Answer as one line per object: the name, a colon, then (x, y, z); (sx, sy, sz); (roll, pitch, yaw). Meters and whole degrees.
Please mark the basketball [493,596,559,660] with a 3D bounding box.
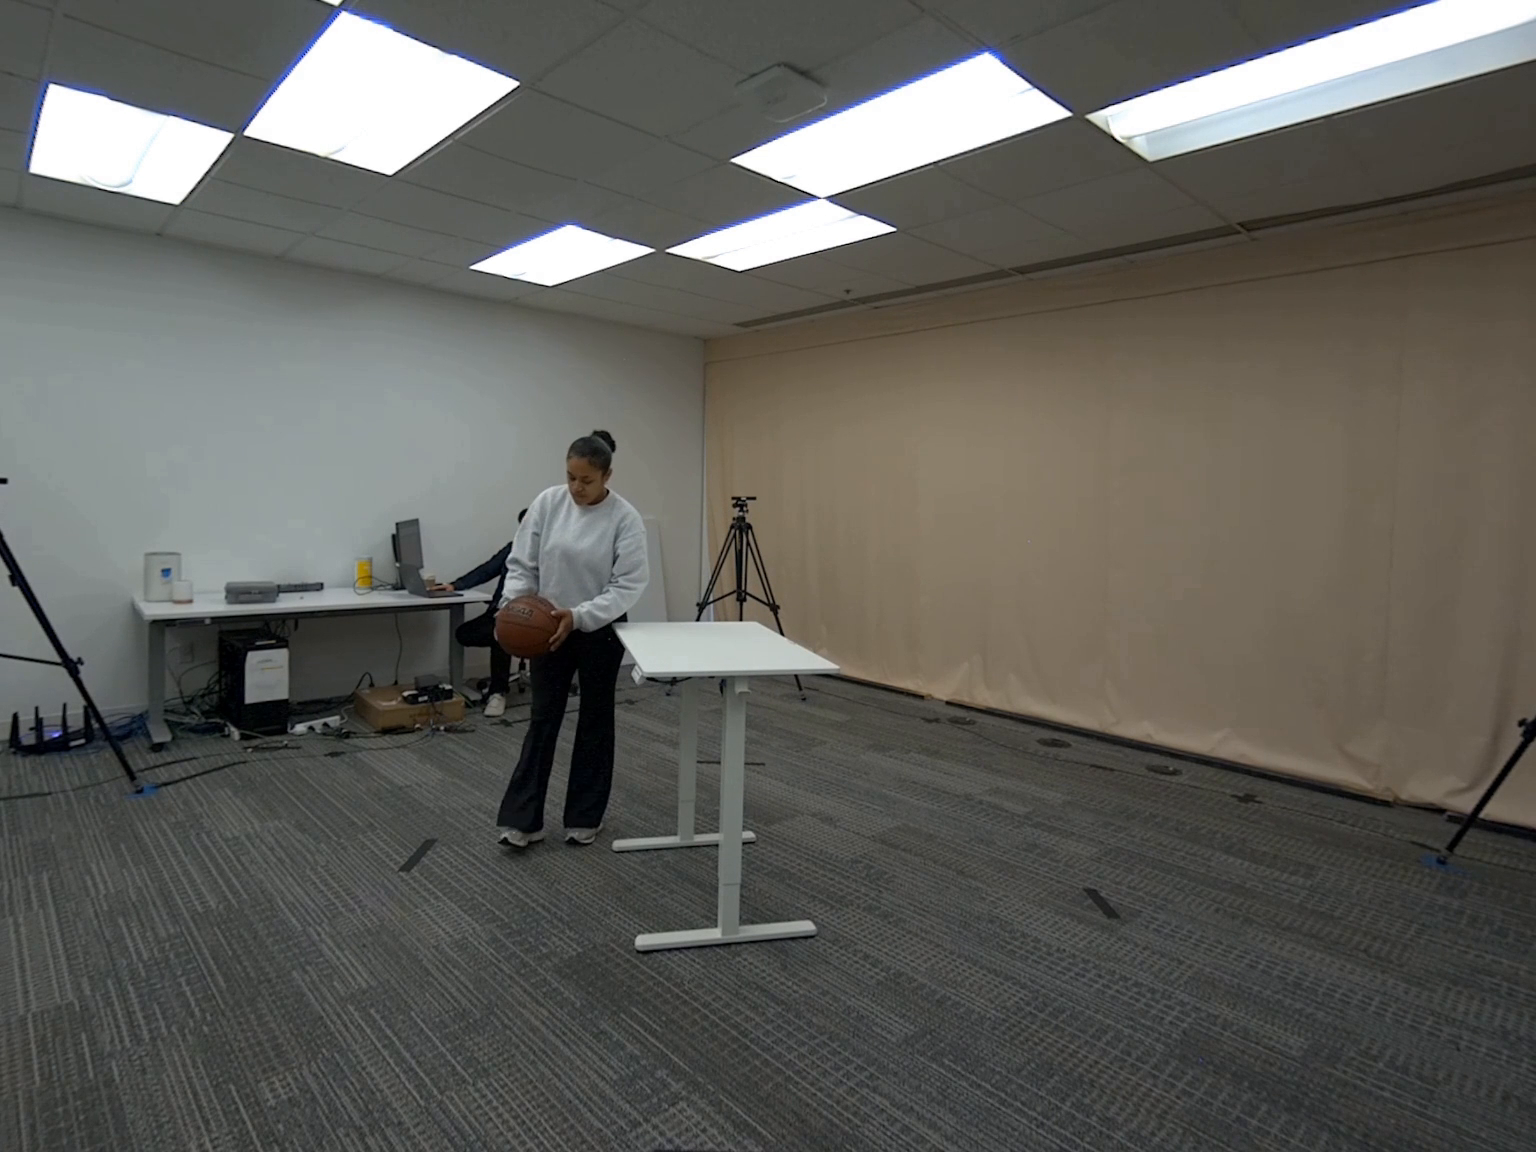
basketball: (-0.902, 0.178, 3.132); (0.236, 0.235, 0.237); (1, 4, -1)
